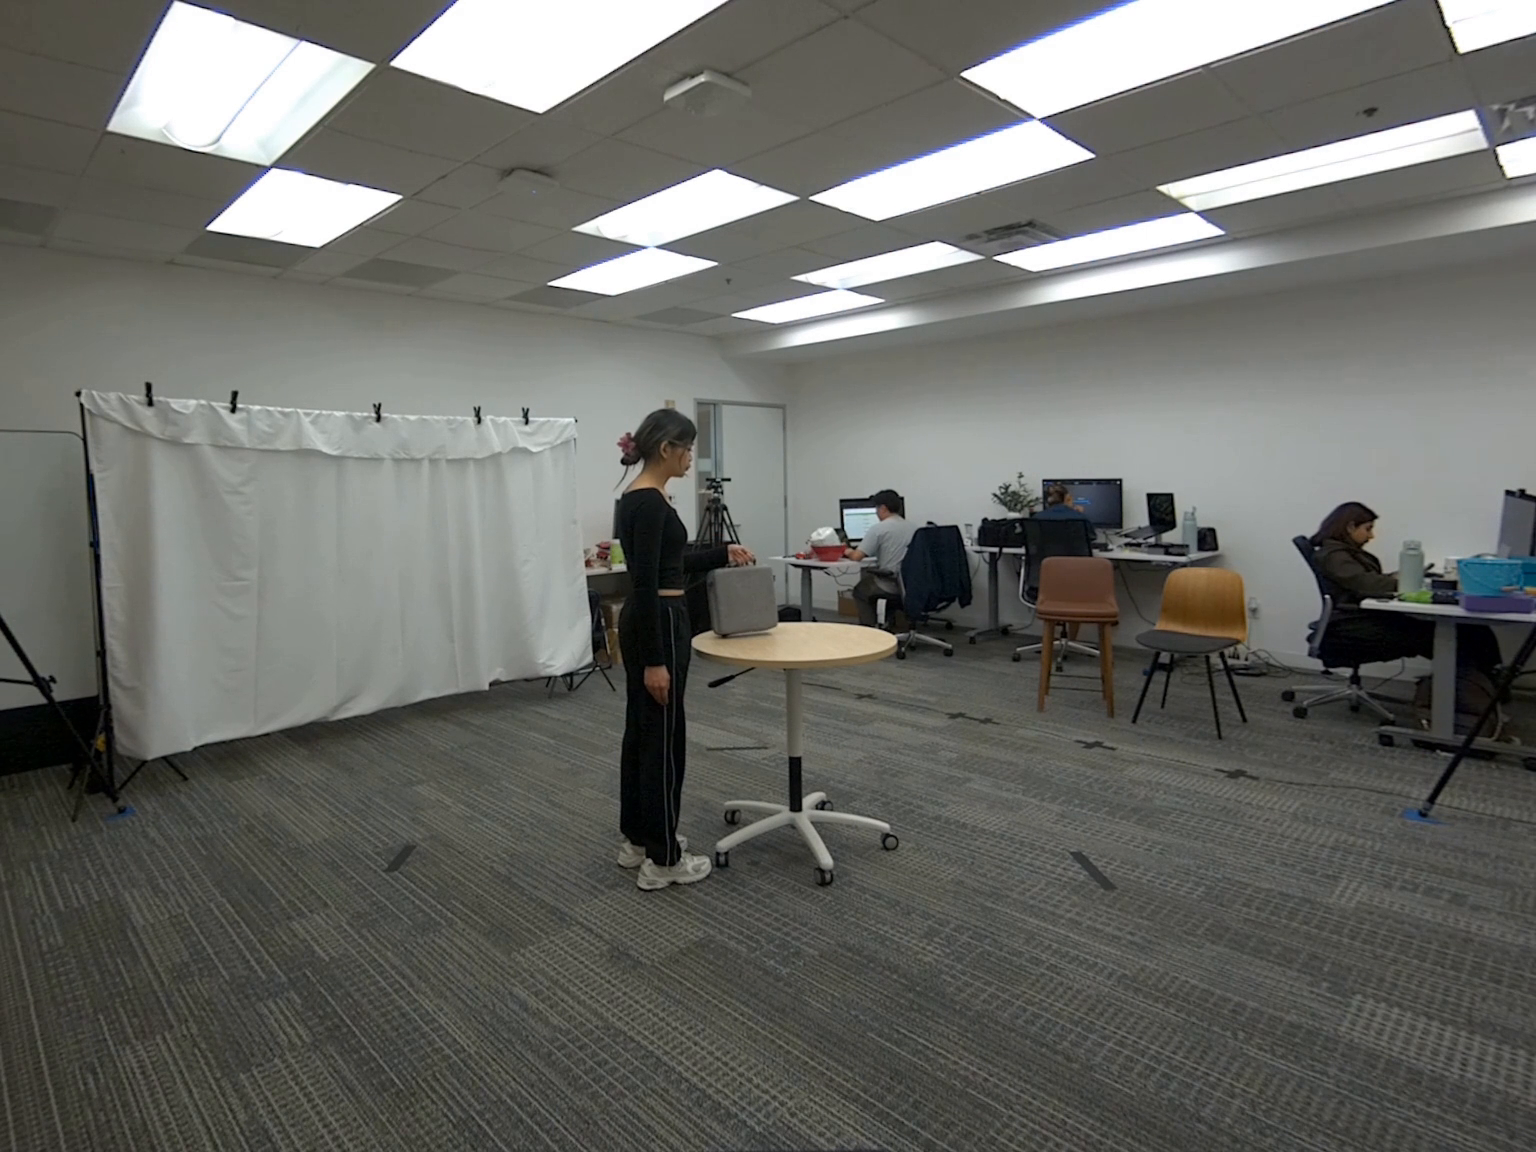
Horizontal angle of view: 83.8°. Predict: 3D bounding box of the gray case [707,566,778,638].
[{"bbox_3d":[-0.096,0.086,3.301,0.253,0.261,0.105,-6,-2,-18],"label":"gray case"}]
